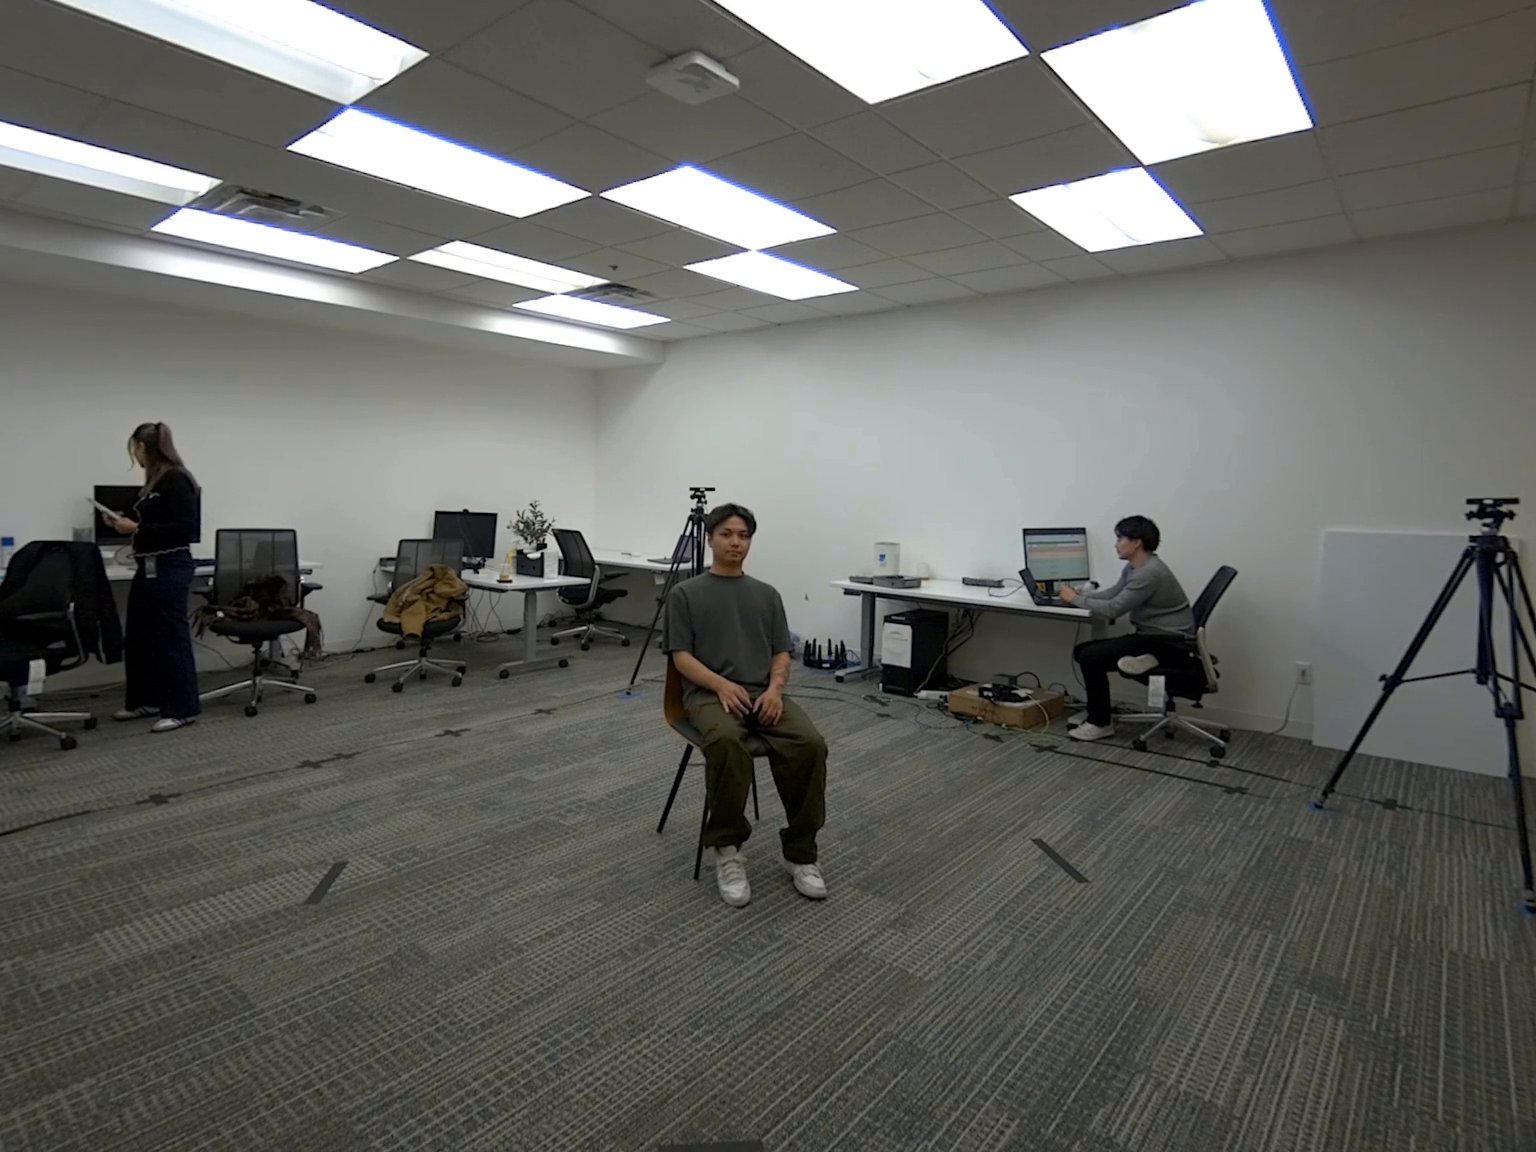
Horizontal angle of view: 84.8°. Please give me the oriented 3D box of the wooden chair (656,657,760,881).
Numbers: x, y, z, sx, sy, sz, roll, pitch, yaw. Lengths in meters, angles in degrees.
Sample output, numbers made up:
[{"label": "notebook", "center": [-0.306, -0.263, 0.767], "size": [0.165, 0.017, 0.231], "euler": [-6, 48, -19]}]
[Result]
[{"label": "wooden chair", "center": [-0.144, 0.617, 3.279], "size": [0.467, 0.878, 0.535], "euler": [0, -1, -24]}]
